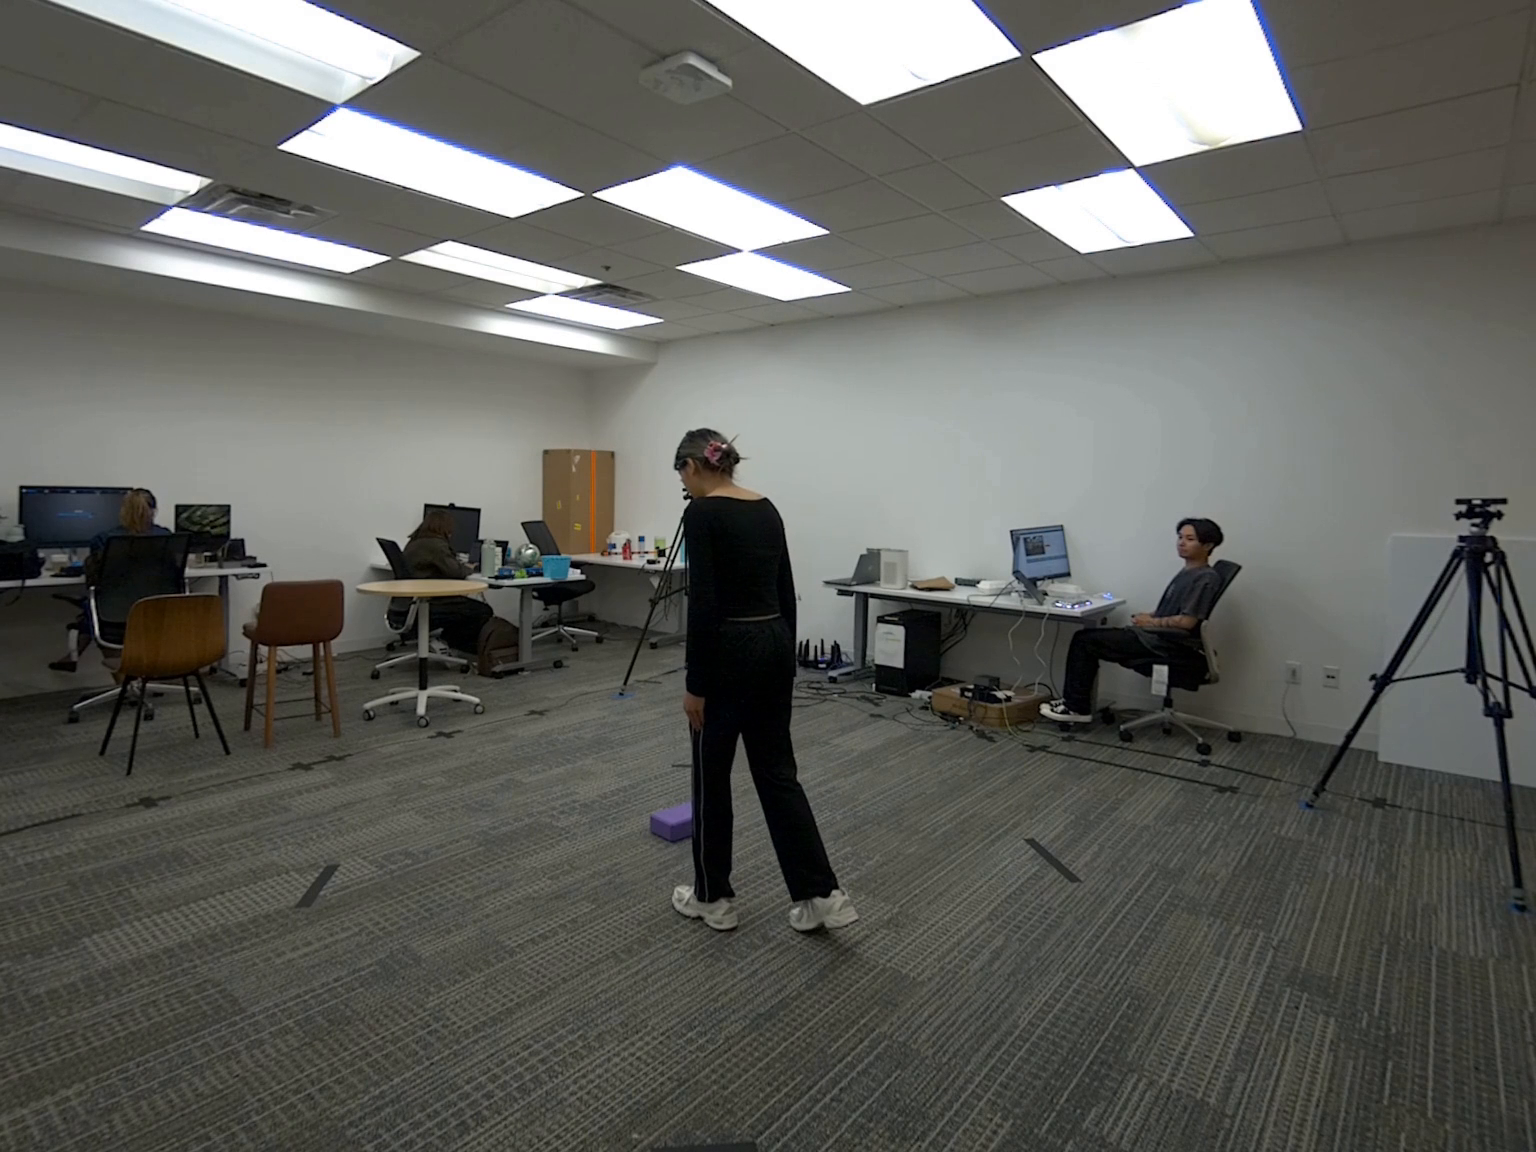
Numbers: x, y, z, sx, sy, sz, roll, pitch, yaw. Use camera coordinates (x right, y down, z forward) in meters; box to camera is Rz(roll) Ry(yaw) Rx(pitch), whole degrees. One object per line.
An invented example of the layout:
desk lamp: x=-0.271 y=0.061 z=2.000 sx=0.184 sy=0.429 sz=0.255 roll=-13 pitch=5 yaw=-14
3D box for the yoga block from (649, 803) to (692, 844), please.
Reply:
yoga block: x=-0.362 y=0.993 z=3.462 sx=0.222 sy=0.076 sz=0.154 roll=-4 pitch=7 yaw=-44
